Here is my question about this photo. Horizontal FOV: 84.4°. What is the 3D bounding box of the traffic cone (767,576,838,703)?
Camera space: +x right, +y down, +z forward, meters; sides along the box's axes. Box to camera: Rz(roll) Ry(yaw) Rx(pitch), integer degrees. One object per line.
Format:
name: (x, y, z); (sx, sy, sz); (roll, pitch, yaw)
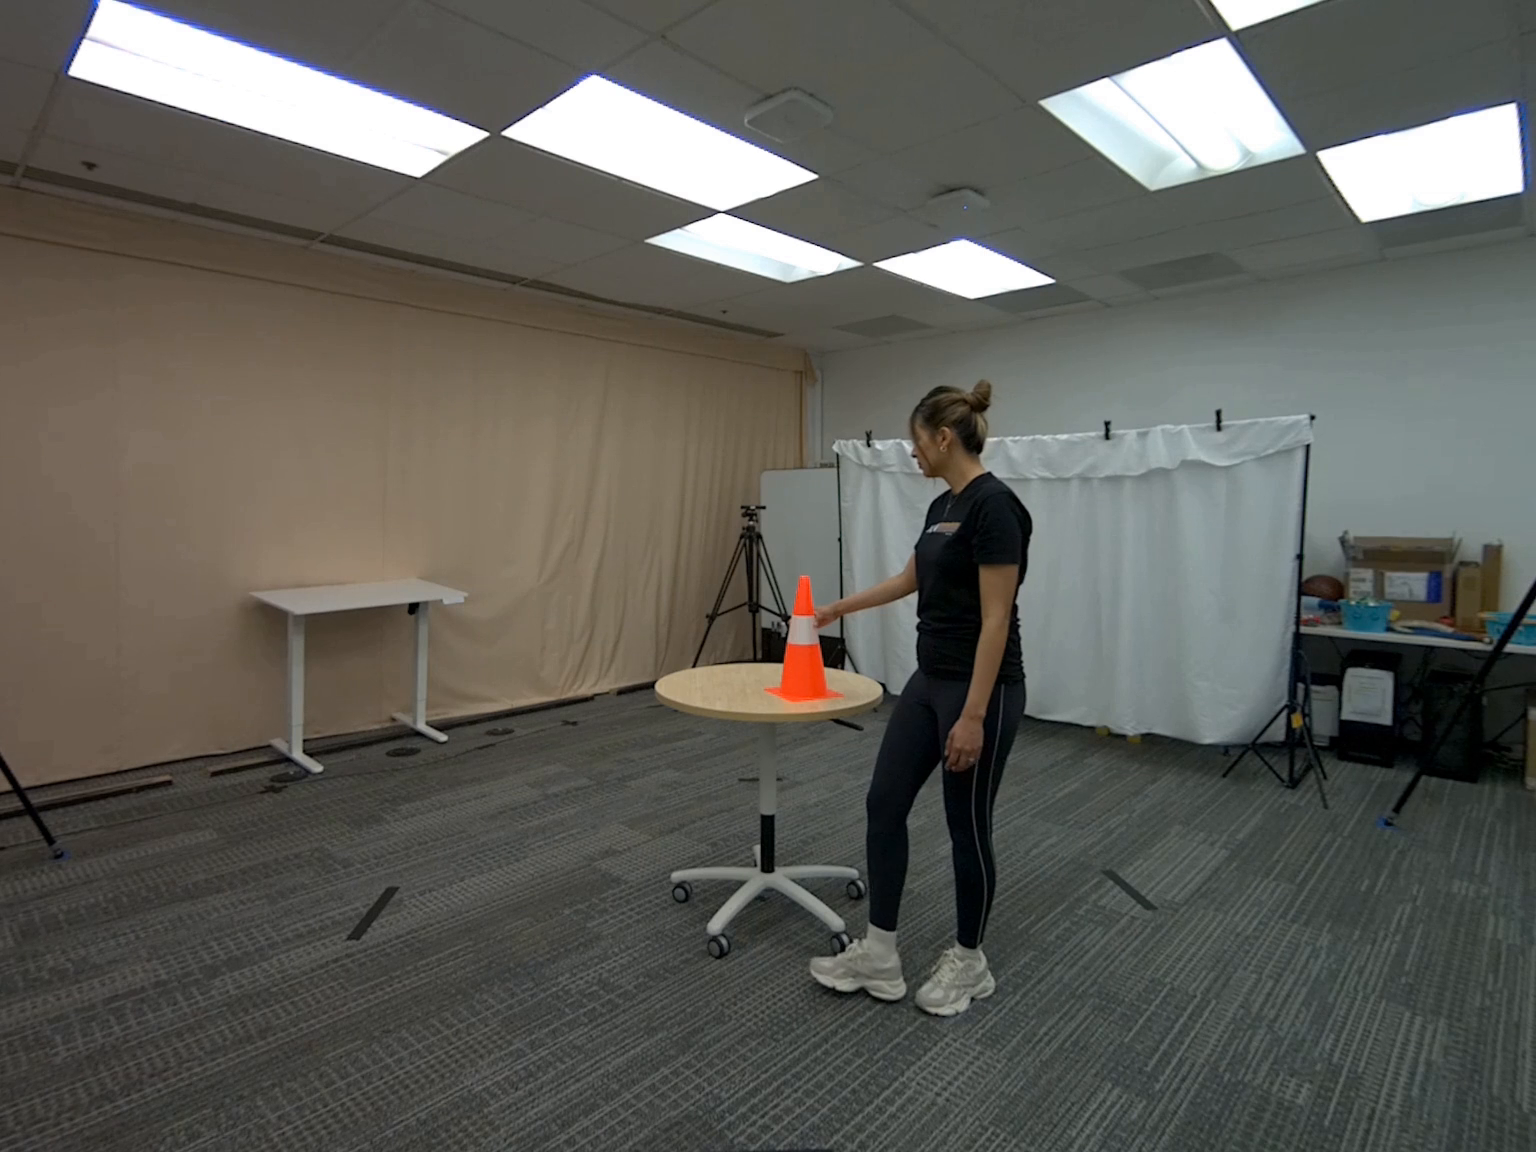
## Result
traffic cone: (0.126, 0.195, 2.729); (0.210, 0.383, 0.198); (6, 5, 43)
